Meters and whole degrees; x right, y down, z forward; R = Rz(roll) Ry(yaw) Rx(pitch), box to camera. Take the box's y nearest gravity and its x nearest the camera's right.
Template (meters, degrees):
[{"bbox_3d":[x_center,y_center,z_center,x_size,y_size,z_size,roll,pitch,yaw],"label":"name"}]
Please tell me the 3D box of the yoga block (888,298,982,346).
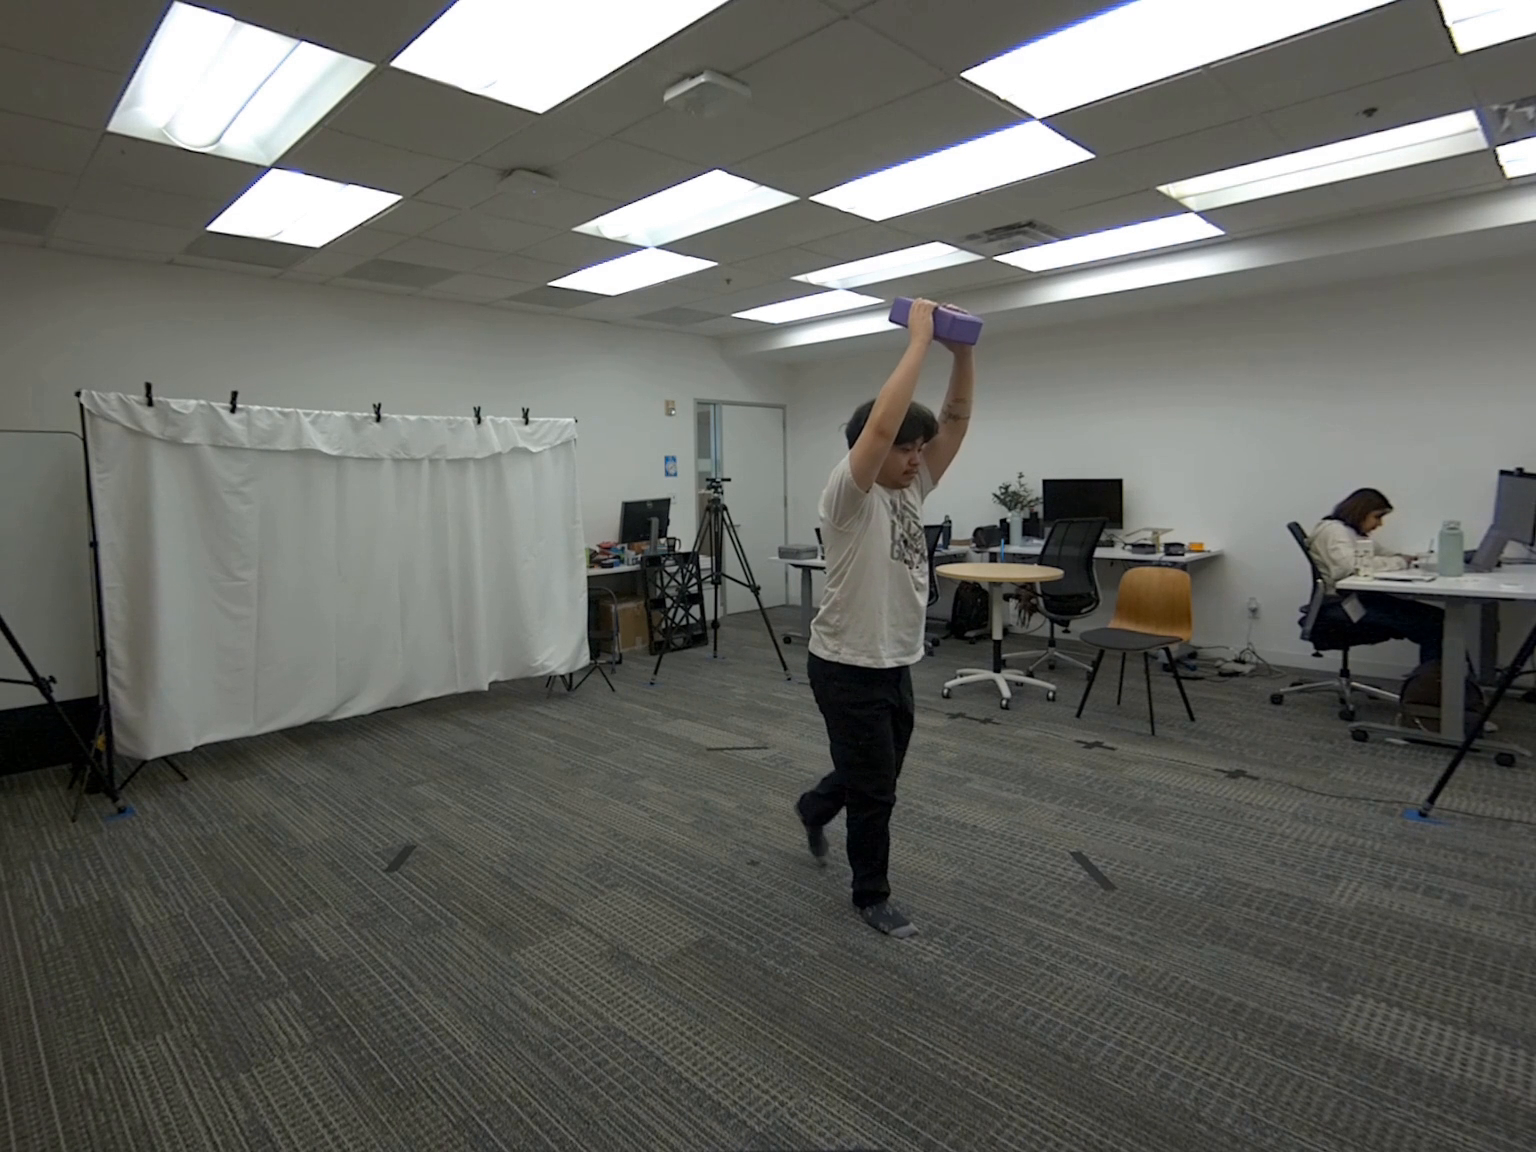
[{"bbox_3d":[0.484,-0.731,2.465,0.145,0.075,0.238,-6,30,-42],"label":"yoga block"}]
